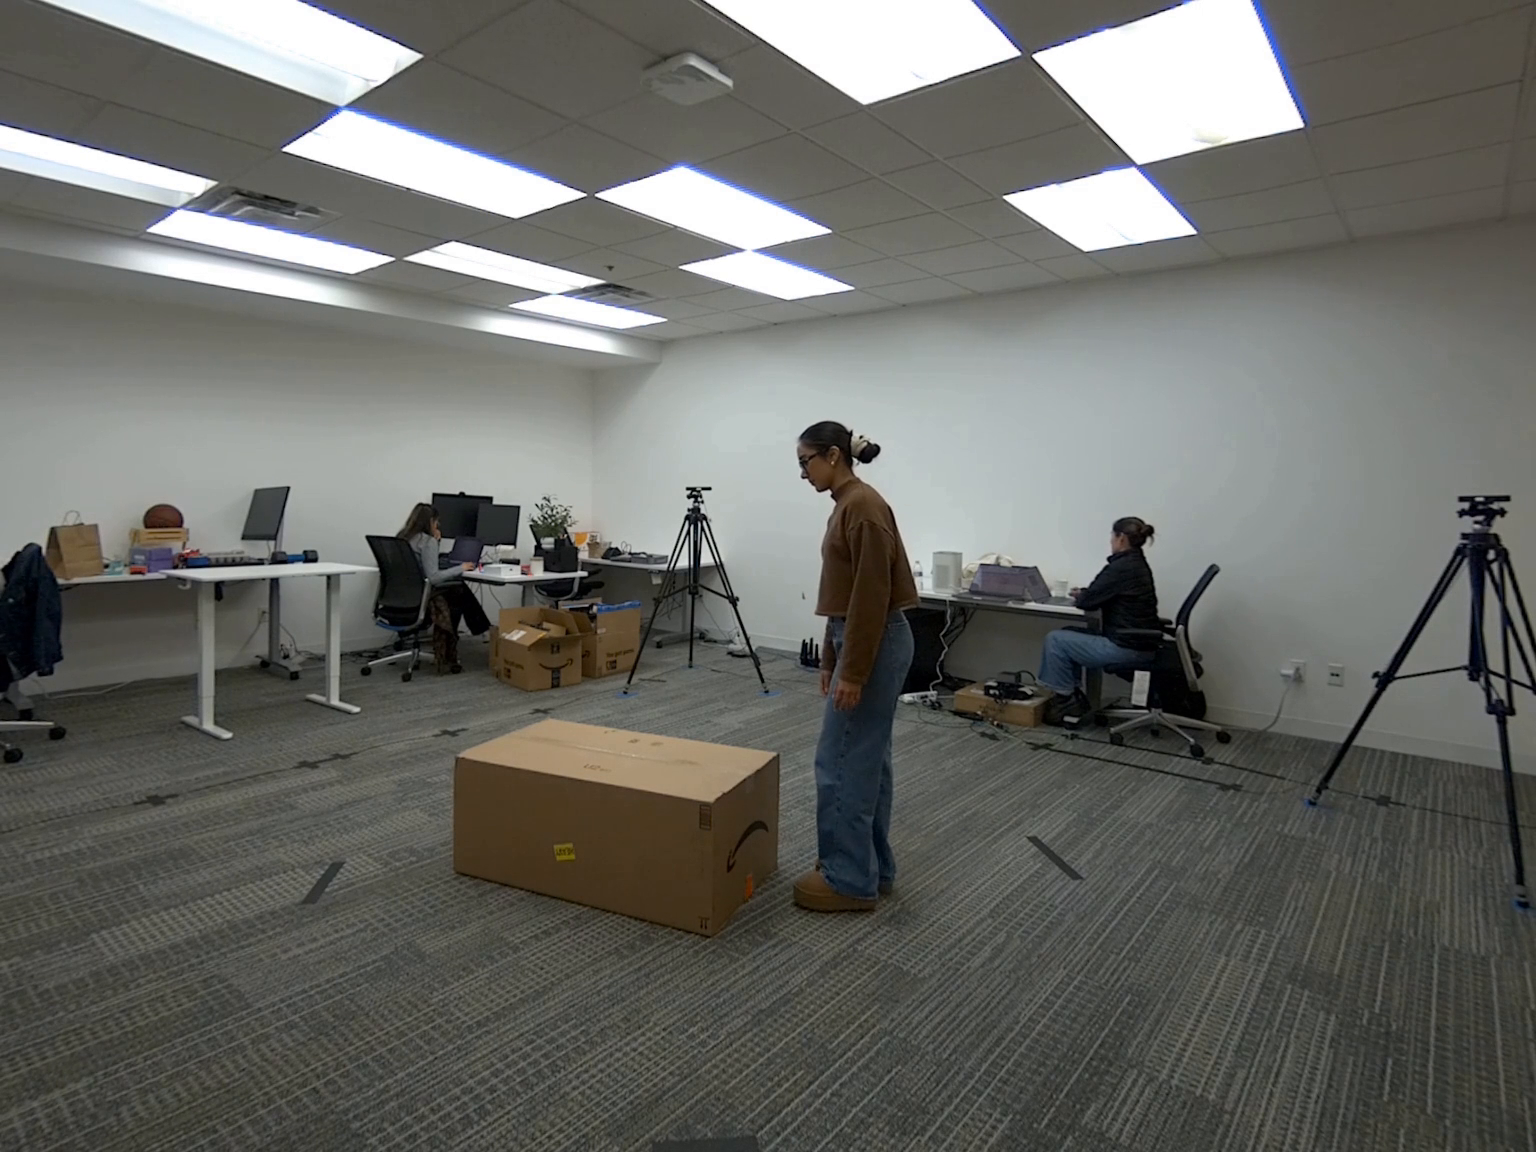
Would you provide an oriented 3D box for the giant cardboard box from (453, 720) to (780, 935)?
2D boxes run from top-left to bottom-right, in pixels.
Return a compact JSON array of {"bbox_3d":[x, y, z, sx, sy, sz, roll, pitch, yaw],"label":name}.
[{"bbox_3d":[-0.553,0.852,3.074,1.052,0.445,0.572,3,6,23],"label":"giant cardboard box"}]
